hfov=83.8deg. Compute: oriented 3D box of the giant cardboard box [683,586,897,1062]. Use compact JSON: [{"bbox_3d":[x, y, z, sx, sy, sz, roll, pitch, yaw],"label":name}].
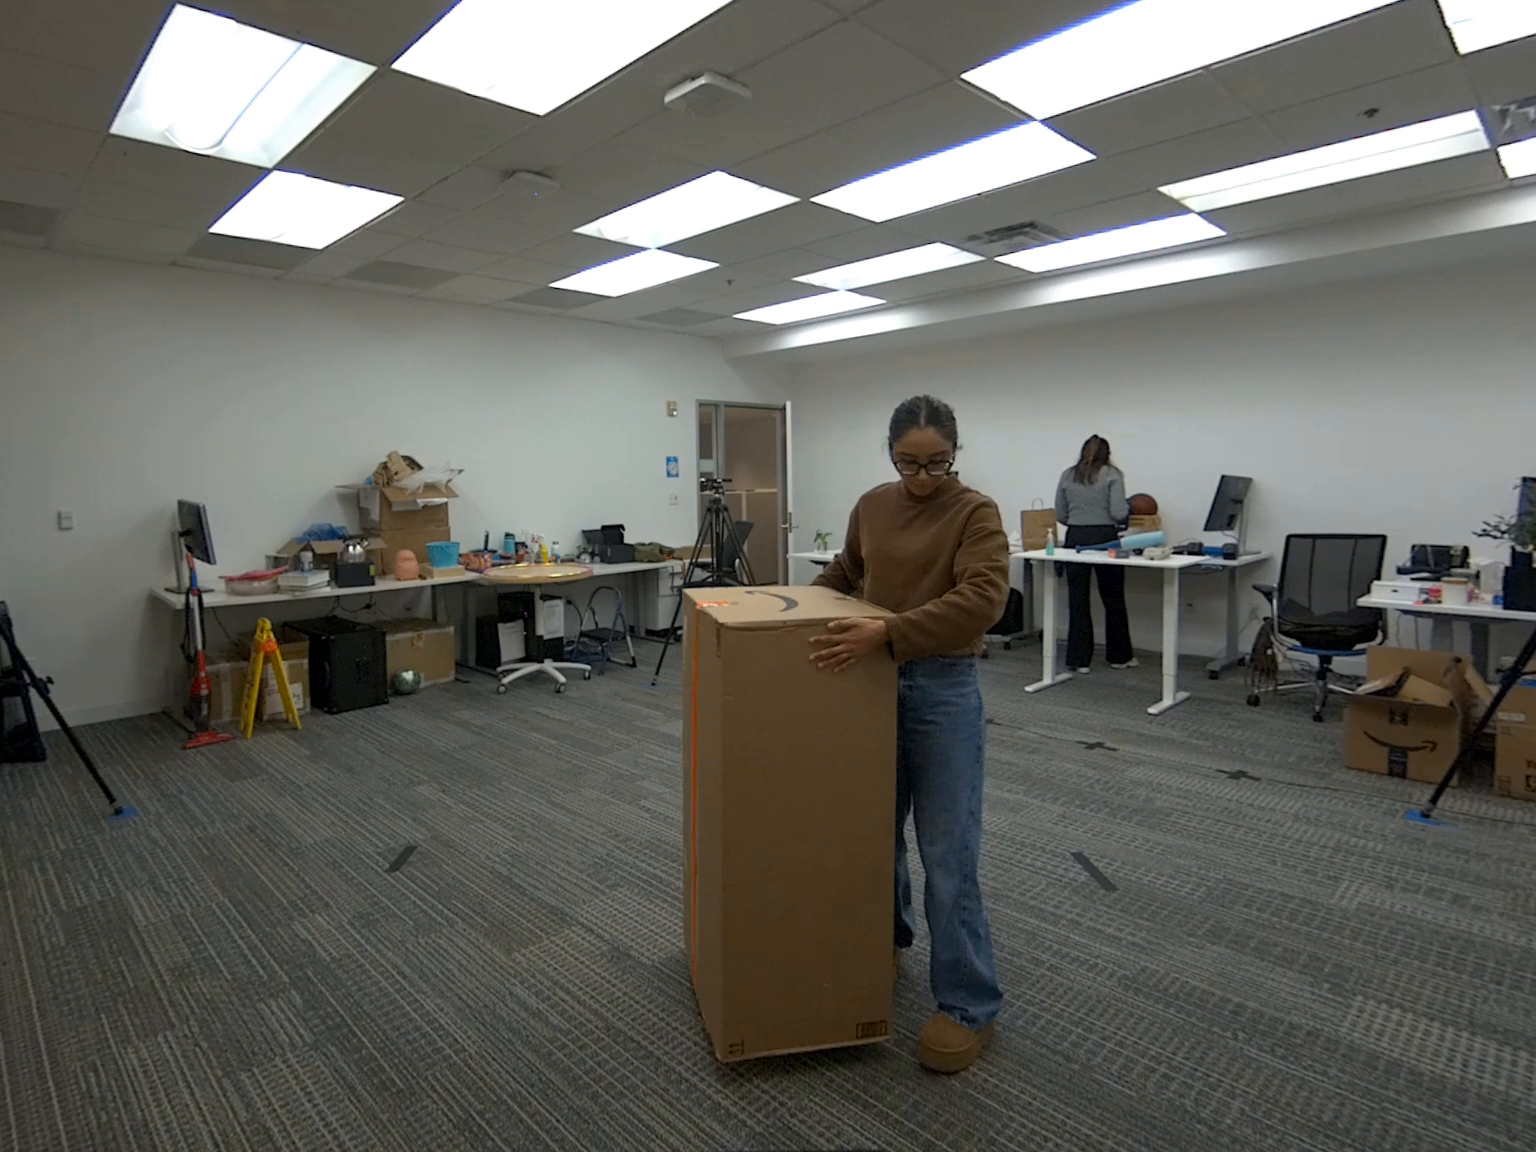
[{"bbox_3d":[0.011,0.584,2.230,0.422,1.021,0.586,-1,6,-12],"label":"giant cardboard box"}]
